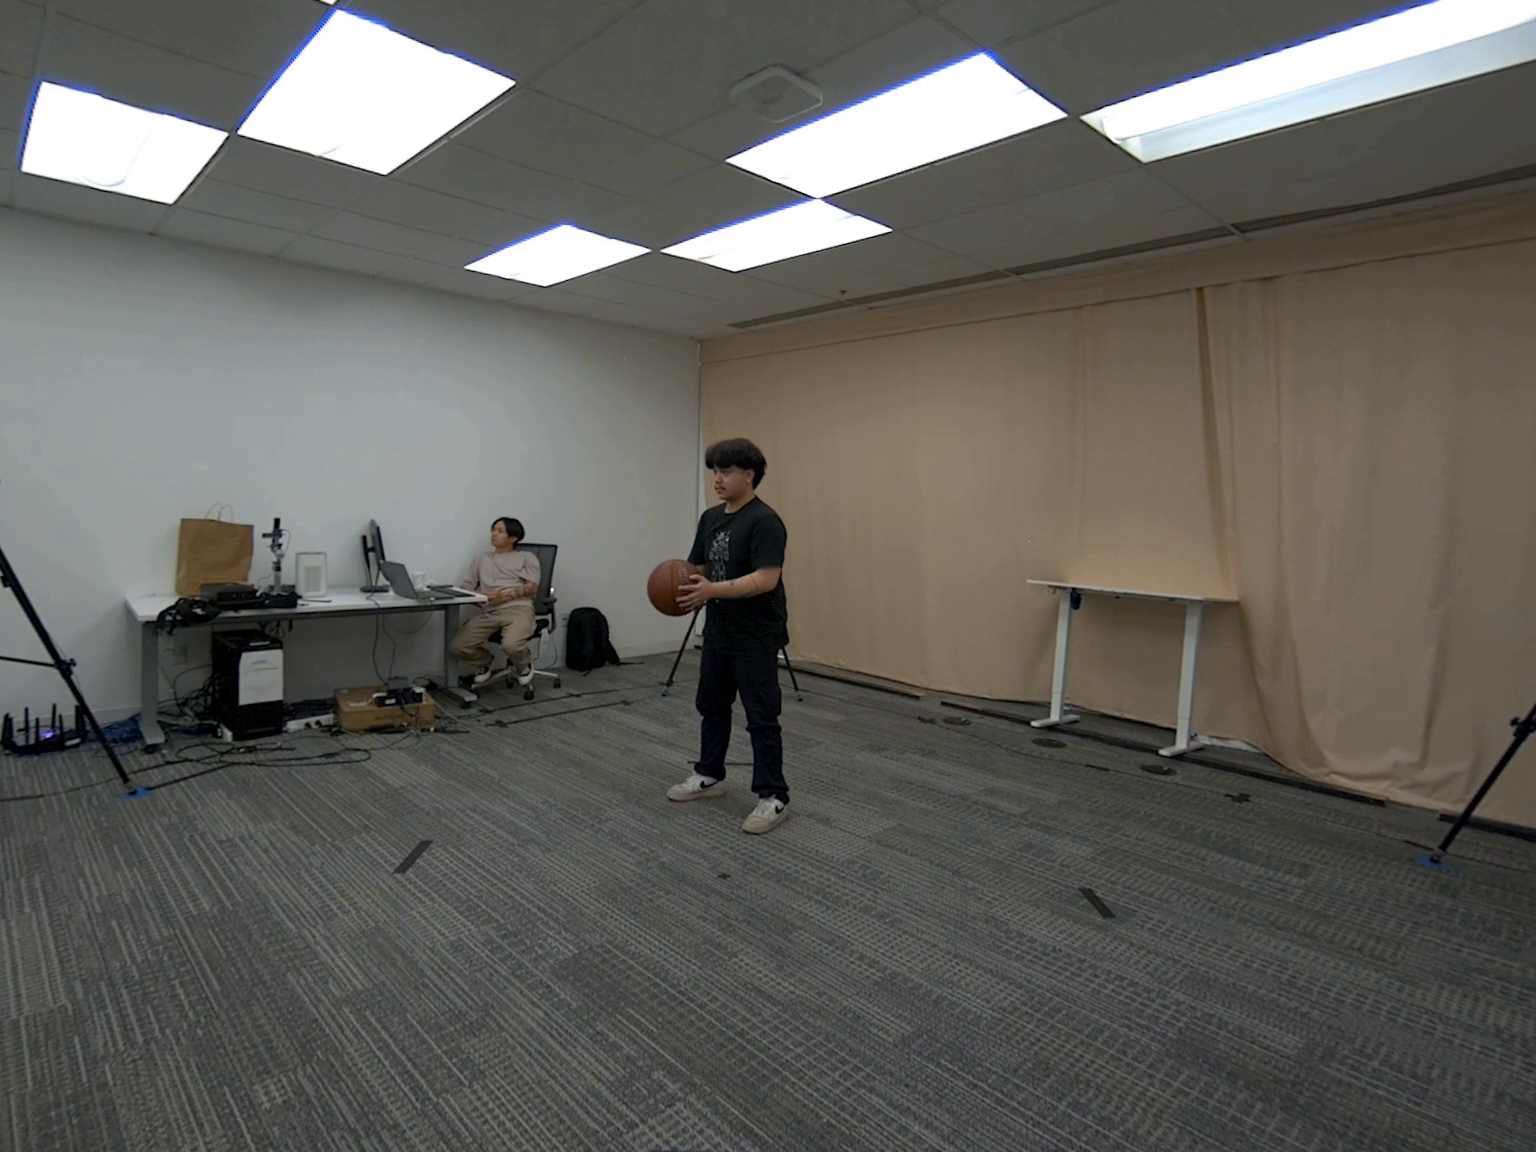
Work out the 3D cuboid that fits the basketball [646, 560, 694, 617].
[{"bbox_3d":[-0.401,0.055,3.510,0.236,0.235,0.237,1,4,-1],"label":"basketball"}]
